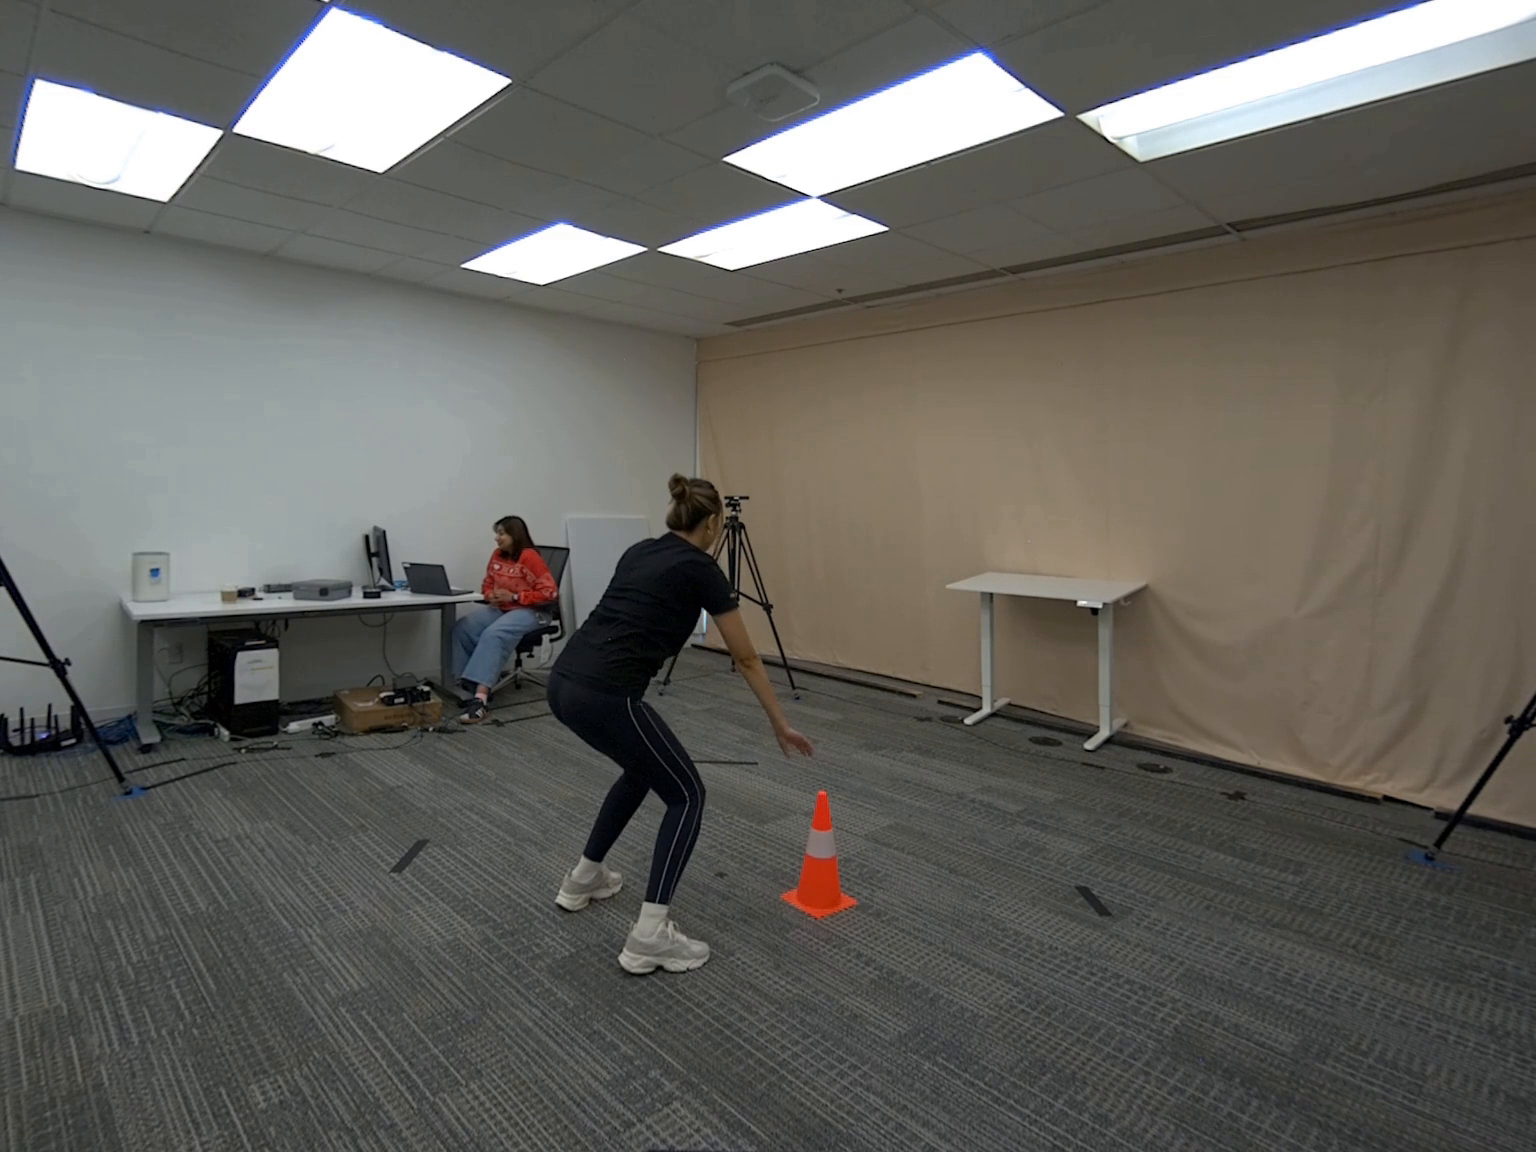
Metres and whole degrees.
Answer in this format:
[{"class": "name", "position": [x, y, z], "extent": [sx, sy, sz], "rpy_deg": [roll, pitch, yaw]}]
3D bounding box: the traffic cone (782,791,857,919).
[{"class": "traffic cone", "position": [0.176, 0.946, 2.920], "extent": [0.200, 0.382, 0.208], "rpy_deg": [-3, 5, -41]}]
